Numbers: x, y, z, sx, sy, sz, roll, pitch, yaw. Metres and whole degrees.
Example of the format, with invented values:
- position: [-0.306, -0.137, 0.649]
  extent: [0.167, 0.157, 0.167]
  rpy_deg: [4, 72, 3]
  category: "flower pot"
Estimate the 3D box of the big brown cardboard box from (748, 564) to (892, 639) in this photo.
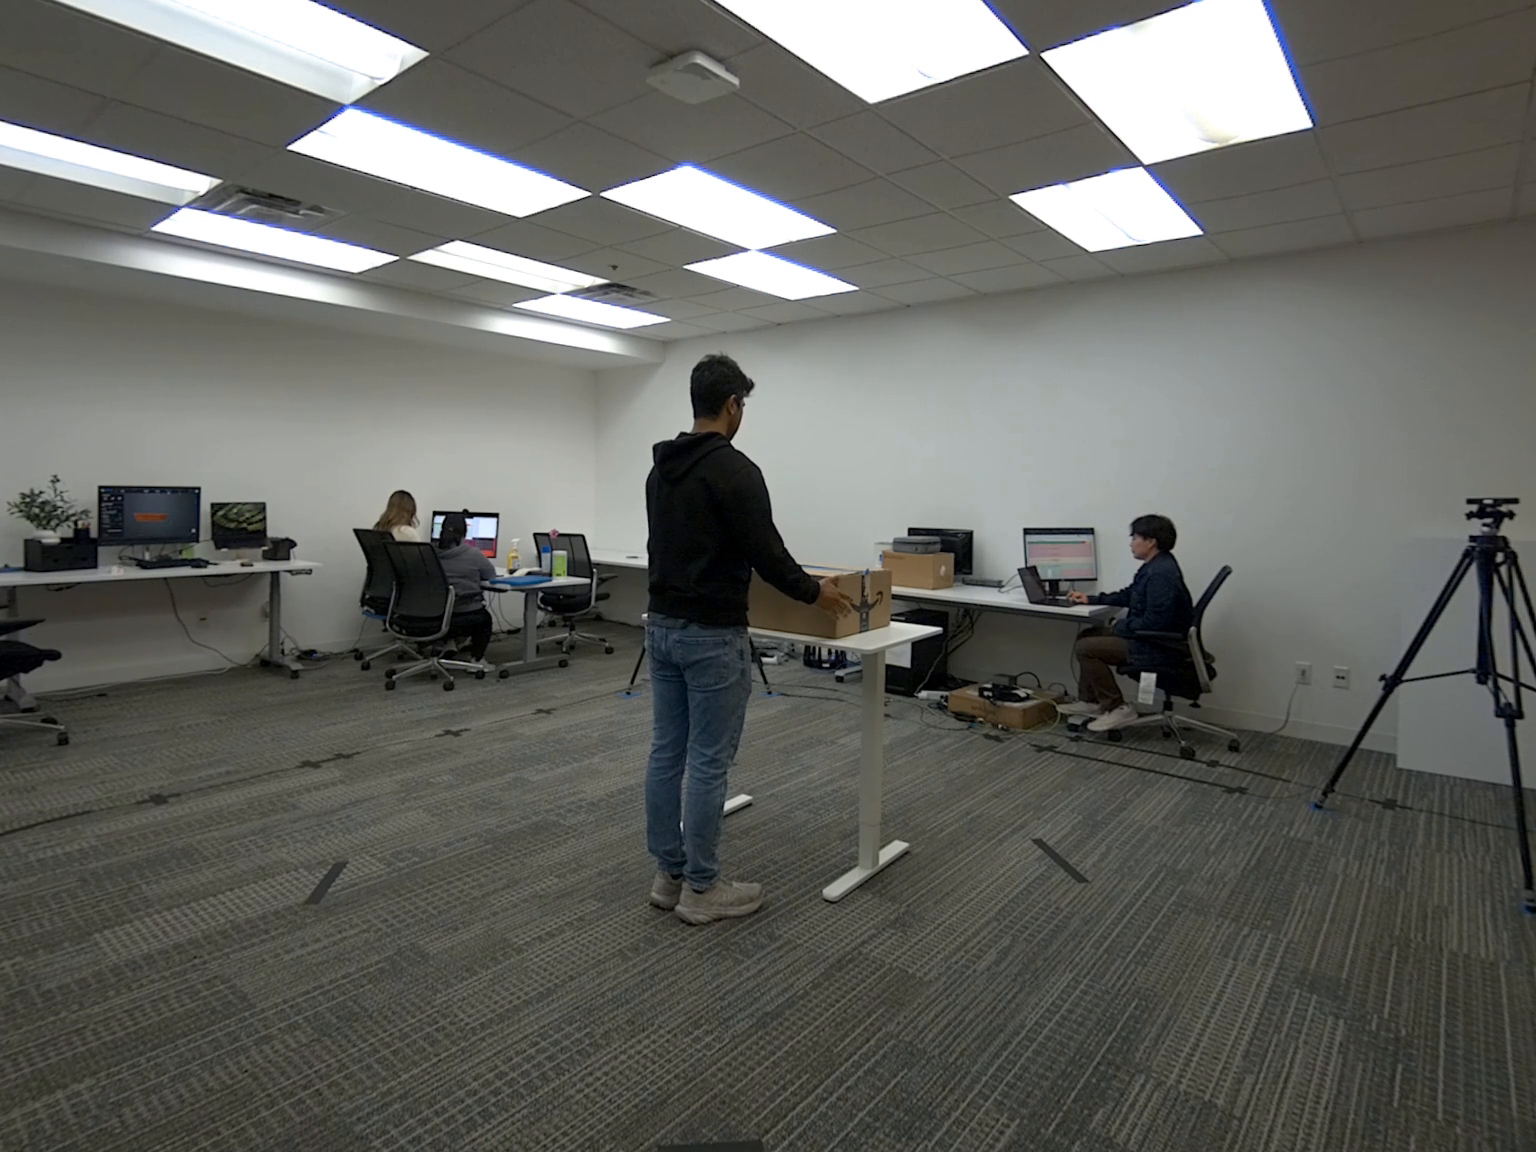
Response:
- position: [0.106, 0.067, 3.239]
  extent: [0.608, 0.232, 0.406]
  rpy_deg: [6, 7, 36]
  category: "big brown cardboard box"
